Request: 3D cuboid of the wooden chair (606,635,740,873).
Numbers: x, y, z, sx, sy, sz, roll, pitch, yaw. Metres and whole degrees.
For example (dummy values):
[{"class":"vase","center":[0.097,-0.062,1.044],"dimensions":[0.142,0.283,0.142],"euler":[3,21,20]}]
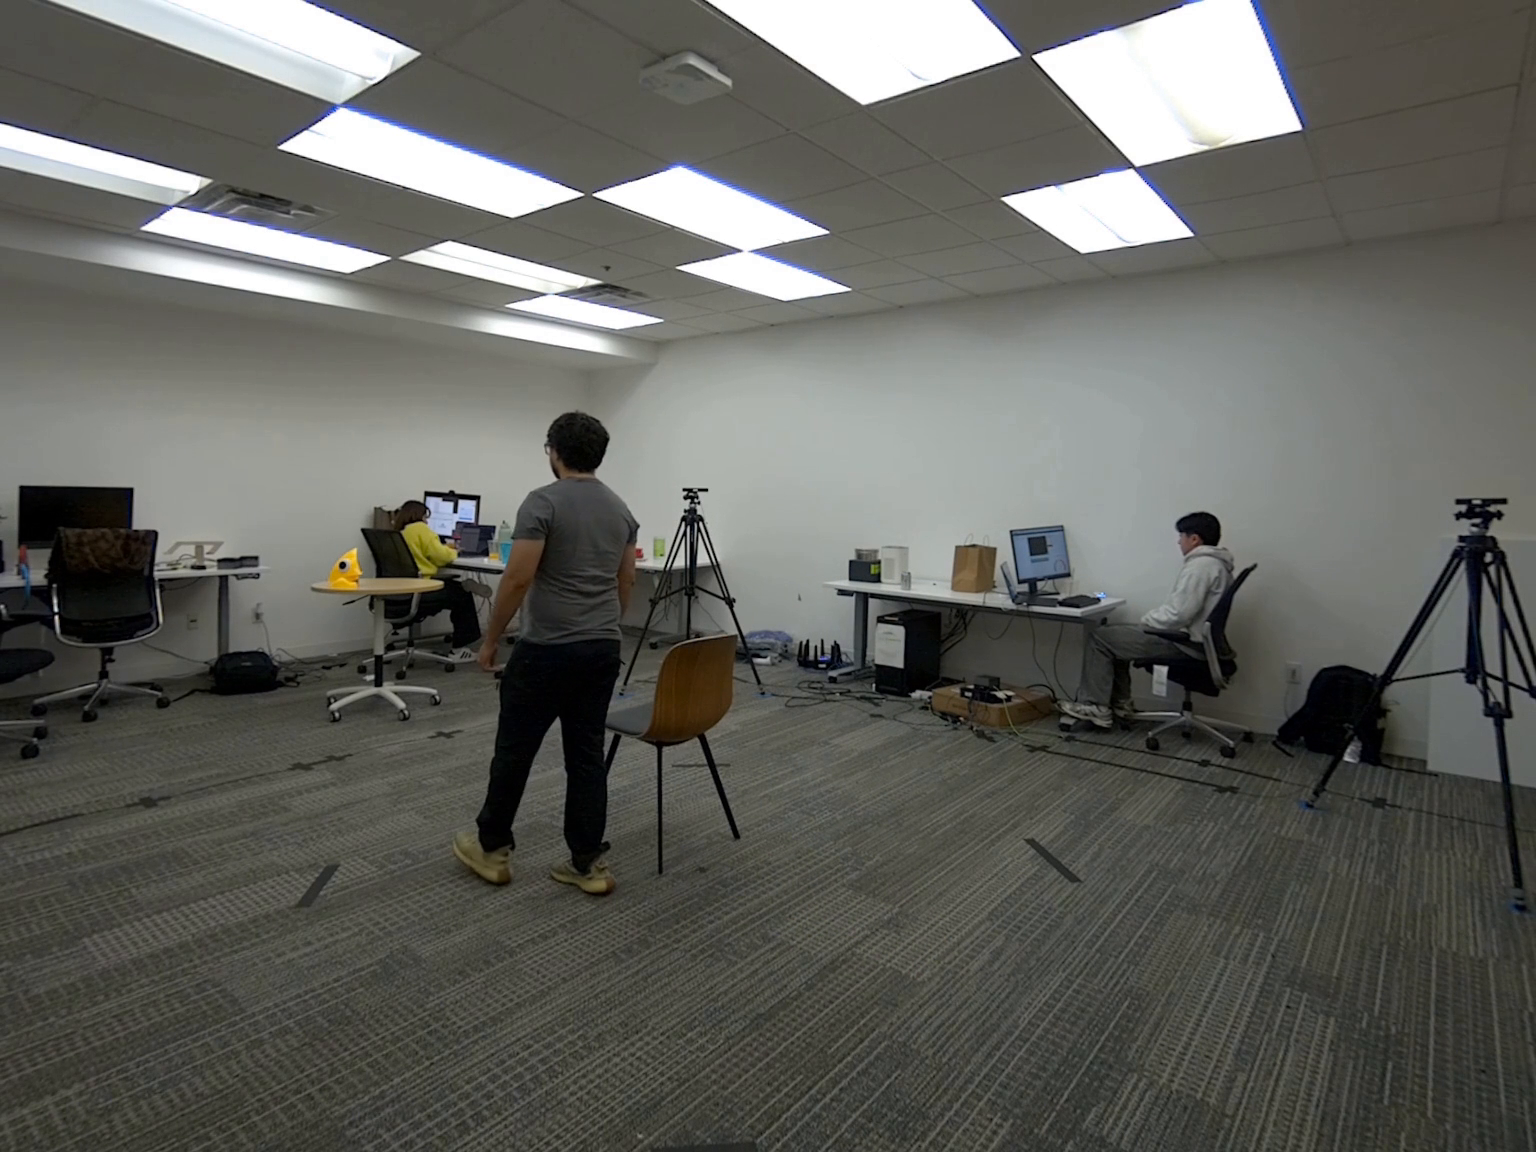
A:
[{"class":"wooden chair","center":[-0.435,0.616,3.353],"dimensions":[0.542,0.873,0.464],"euler":[9,8,39]}]
